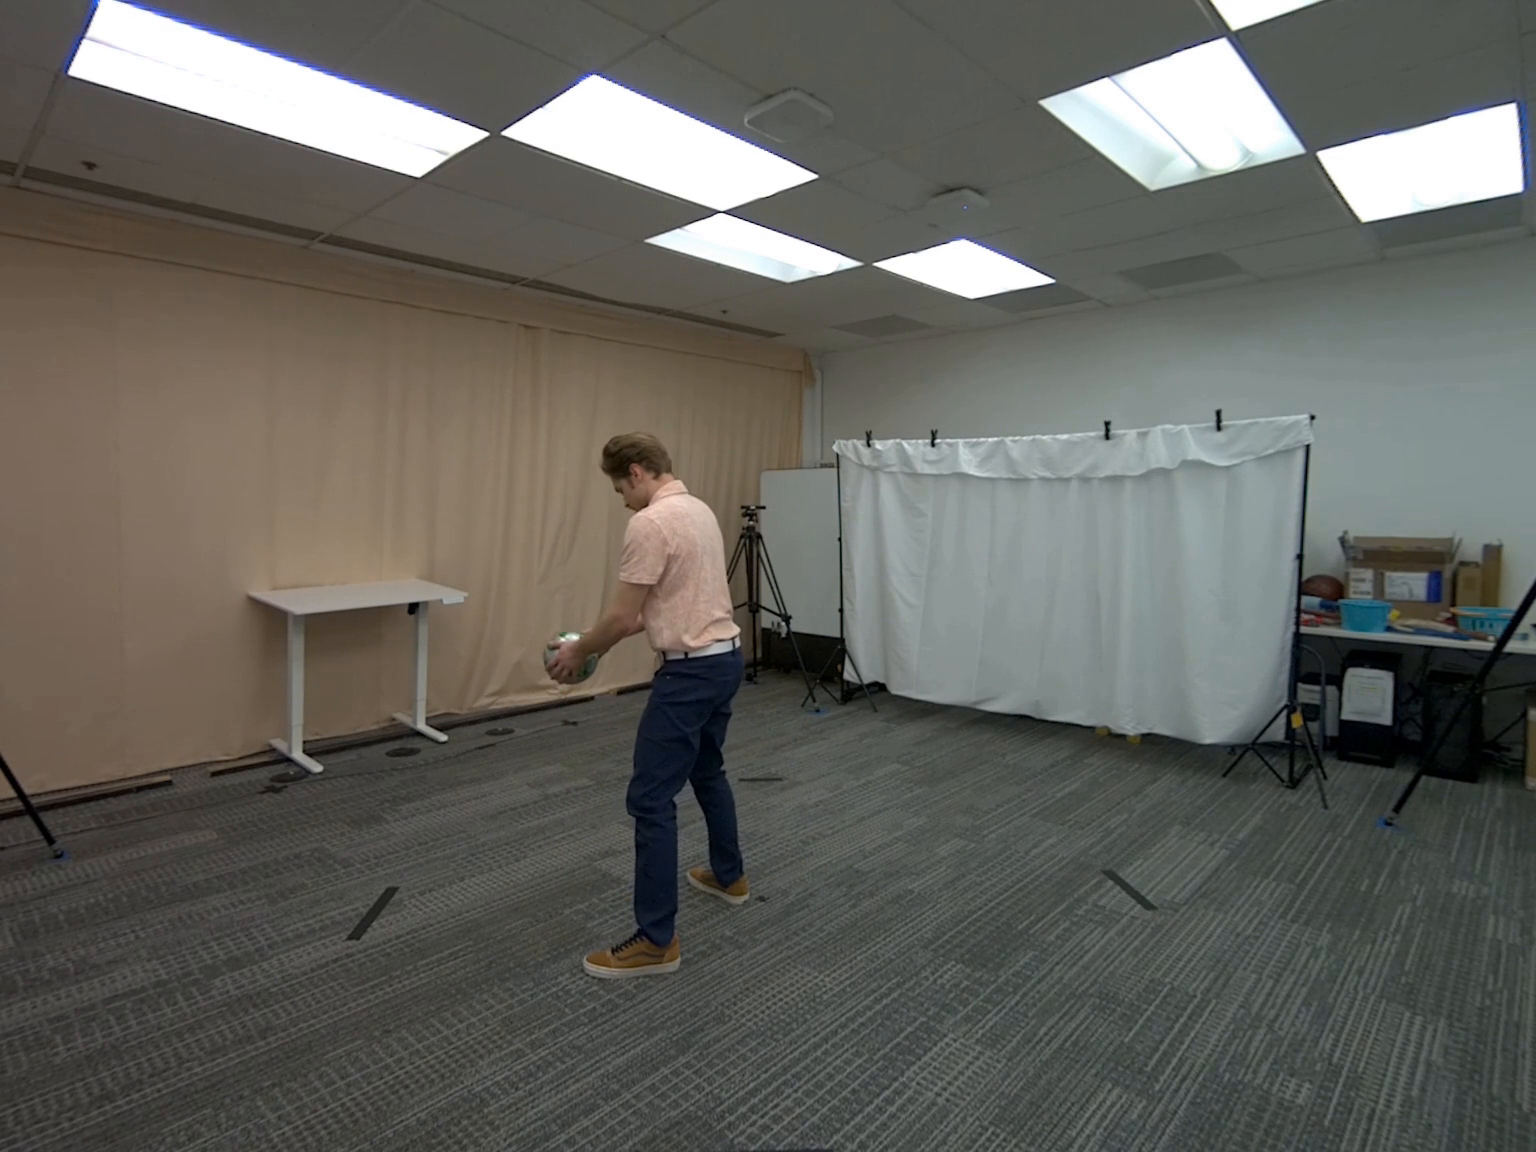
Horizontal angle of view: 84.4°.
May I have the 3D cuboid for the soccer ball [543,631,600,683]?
[{"bbox_3d":[-0.675,0.282,2.882,0.187,0.187,0.188,0,4,-2],"label":"soccer ball"}]
